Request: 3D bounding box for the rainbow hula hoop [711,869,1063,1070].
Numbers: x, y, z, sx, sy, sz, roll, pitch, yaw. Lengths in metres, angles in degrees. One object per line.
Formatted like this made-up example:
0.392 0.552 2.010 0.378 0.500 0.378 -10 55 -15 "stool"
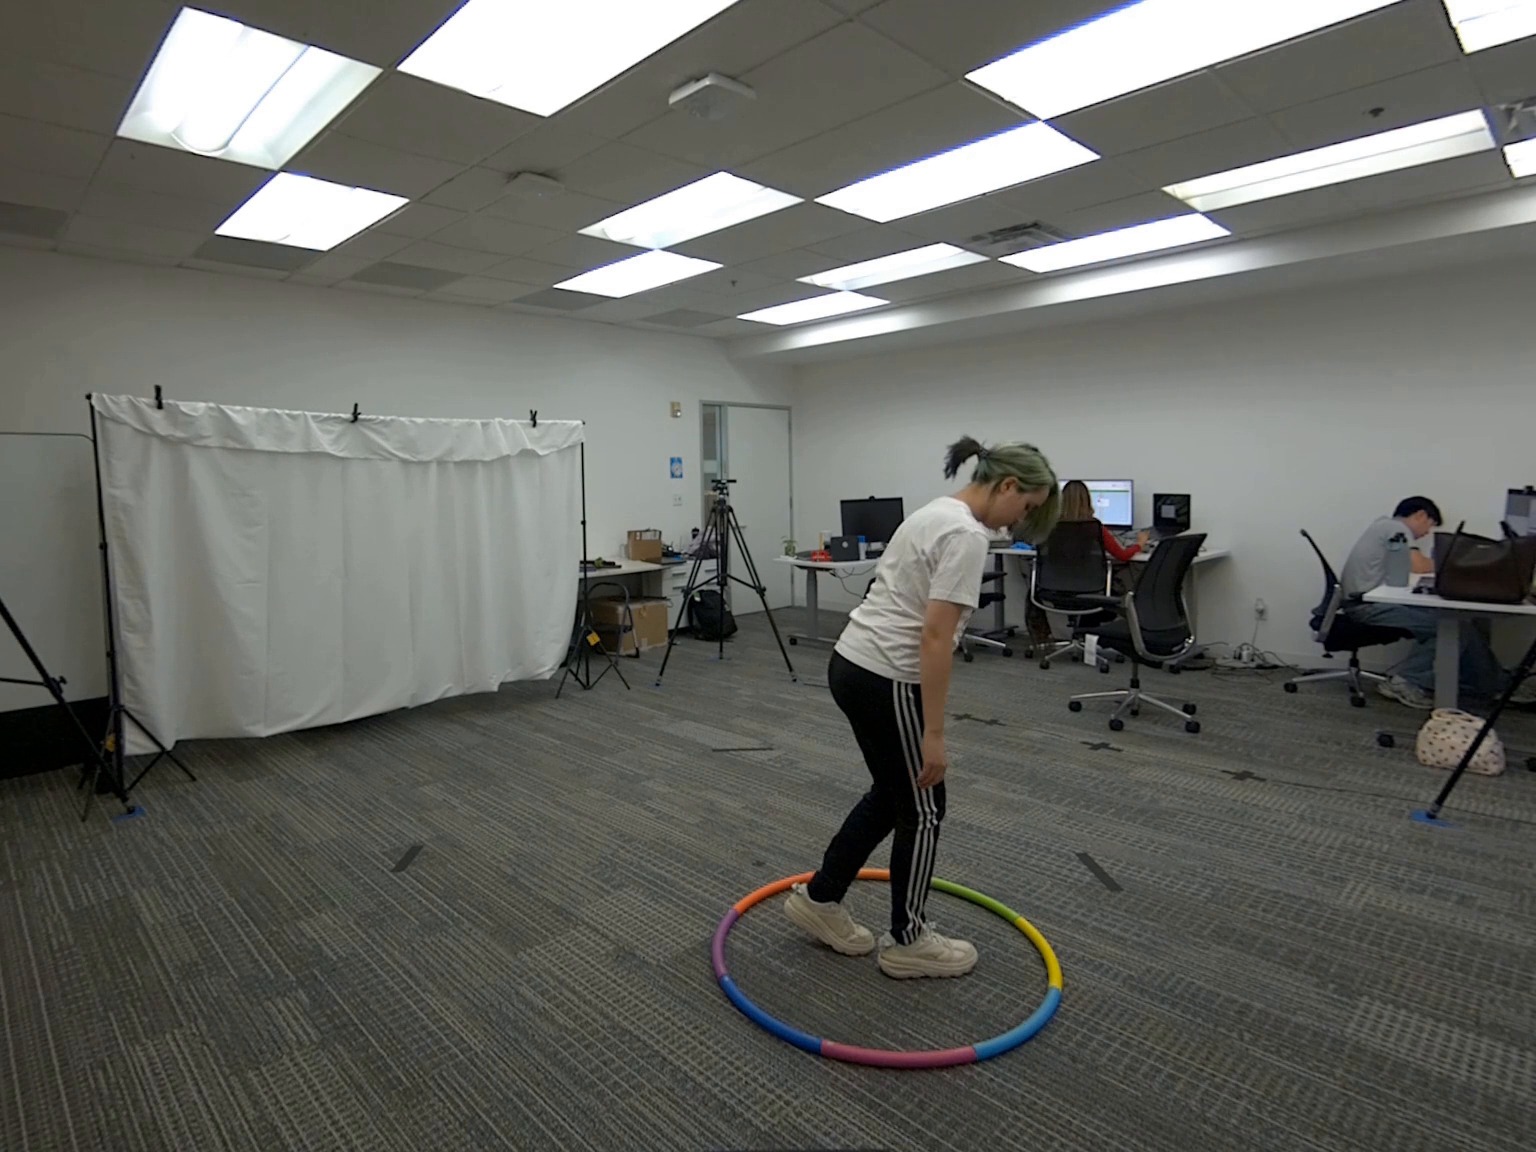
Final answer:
0.329 1.085 2.499 0.985 0.051 0.991 -2 6 -2 "rainbow hula hoop"
